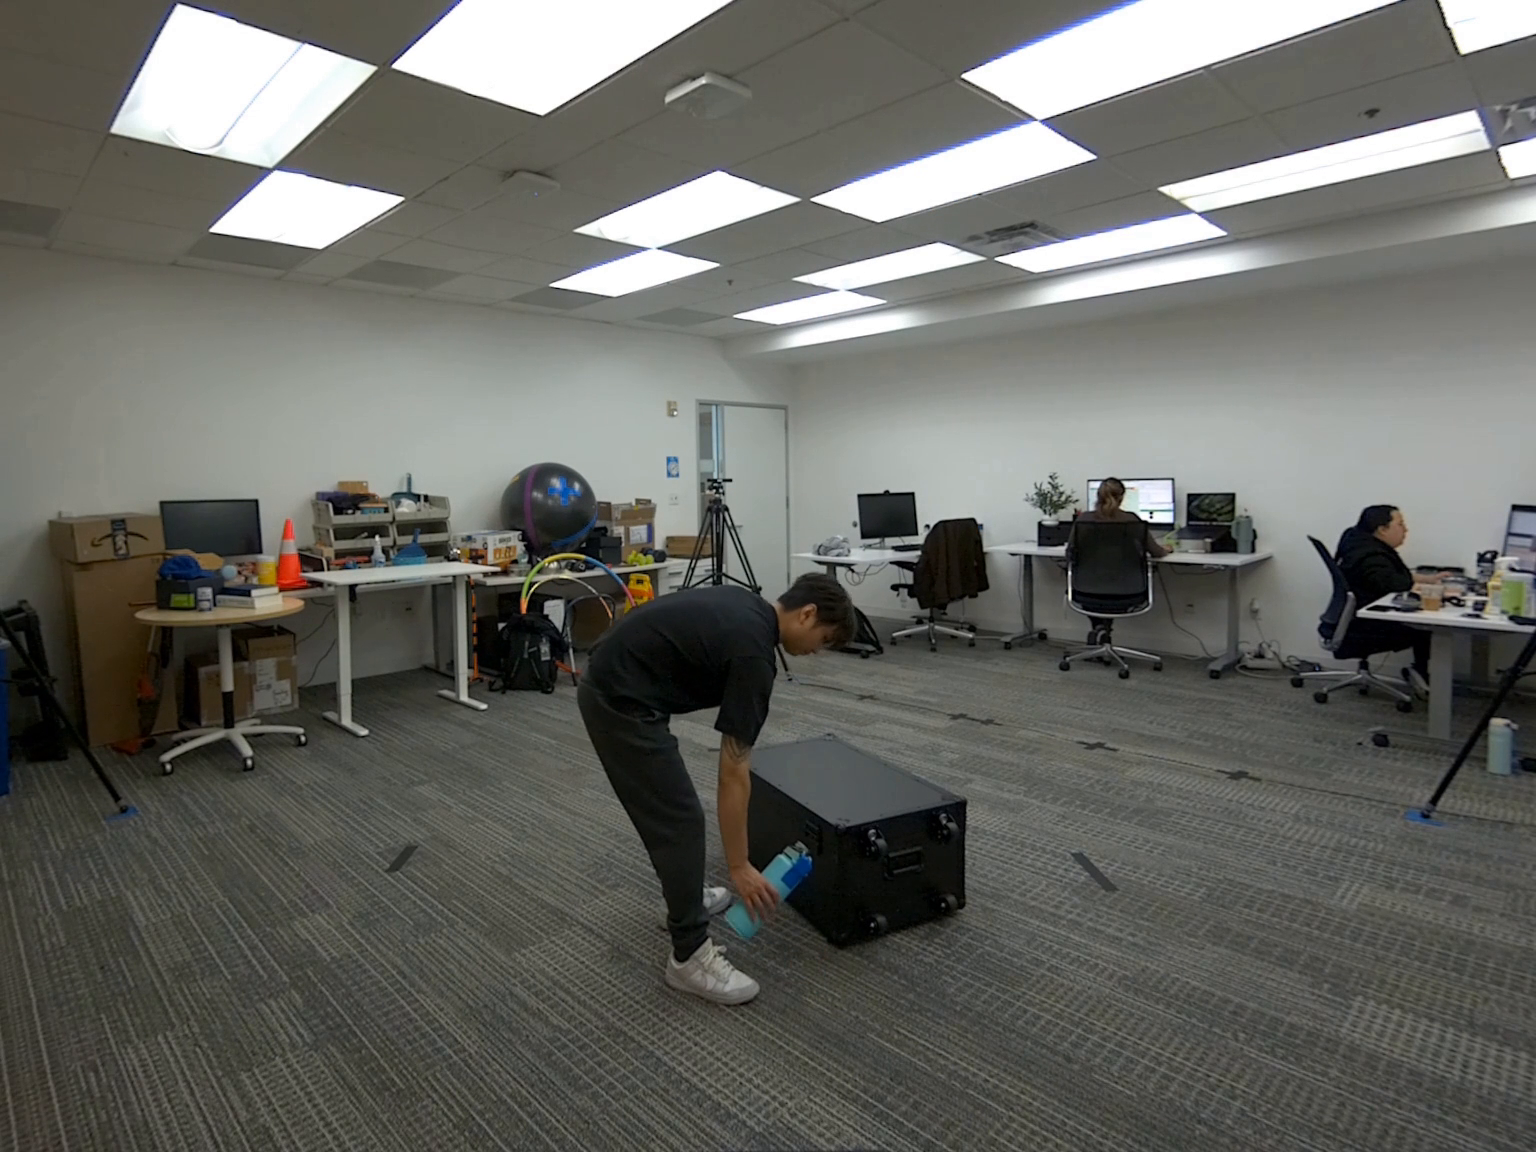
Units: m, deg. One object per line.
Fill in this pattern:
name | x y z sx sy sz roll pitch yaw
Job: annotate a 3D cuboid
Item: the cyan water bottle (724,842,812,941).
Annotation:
cyan water bottle | 0.017 0.836 2.308 0.283 0.090 0.094 -46 19 -14
